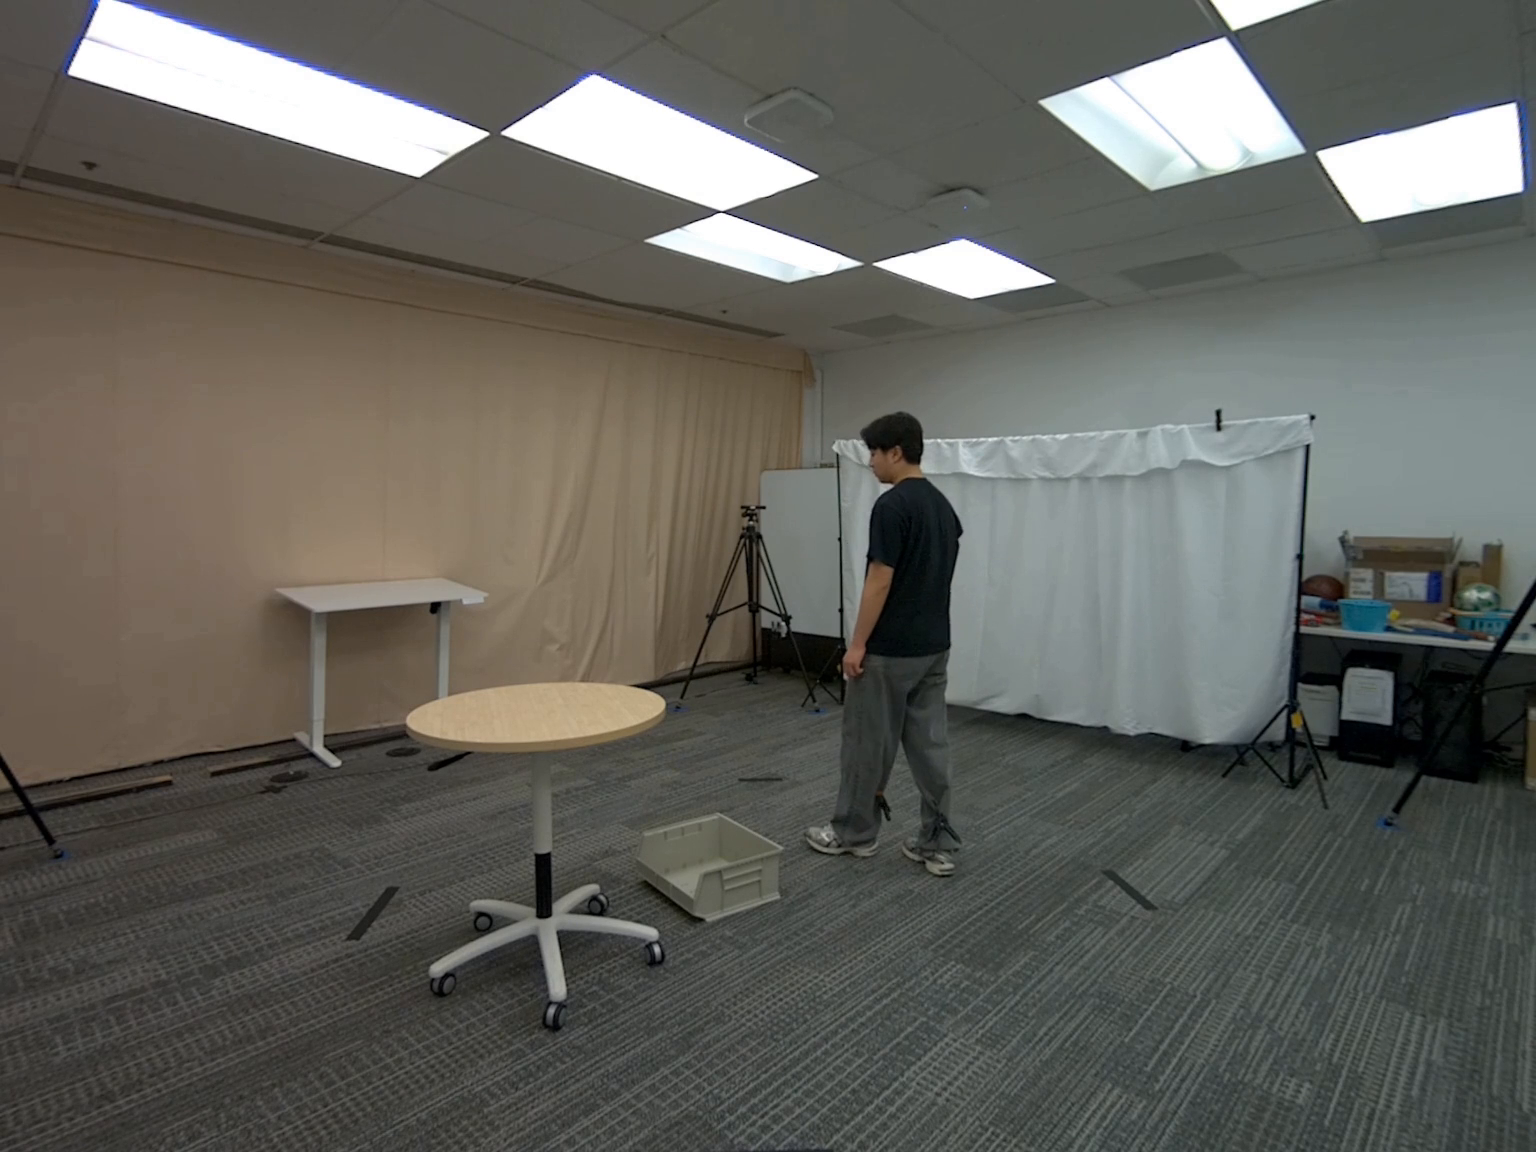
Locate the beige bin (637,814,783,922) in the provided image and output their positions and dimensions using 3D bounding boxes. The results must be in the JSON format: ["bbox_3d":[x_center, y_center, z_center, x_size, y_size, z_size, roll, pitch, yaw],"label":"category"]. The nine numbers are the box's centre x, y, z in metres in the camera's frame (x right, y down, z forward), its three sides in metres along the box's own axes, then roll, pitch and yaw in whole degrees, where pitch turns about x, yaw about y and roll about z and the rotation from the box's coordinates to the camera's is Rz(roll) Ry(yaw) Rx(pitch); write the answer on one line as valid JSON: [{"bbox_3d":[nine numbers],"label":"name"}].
[{"bbox_3d":[-0.214,1.049,3.051,0.366,0.188,0.436,-3,5,-35],"label":"beige bin"}]
